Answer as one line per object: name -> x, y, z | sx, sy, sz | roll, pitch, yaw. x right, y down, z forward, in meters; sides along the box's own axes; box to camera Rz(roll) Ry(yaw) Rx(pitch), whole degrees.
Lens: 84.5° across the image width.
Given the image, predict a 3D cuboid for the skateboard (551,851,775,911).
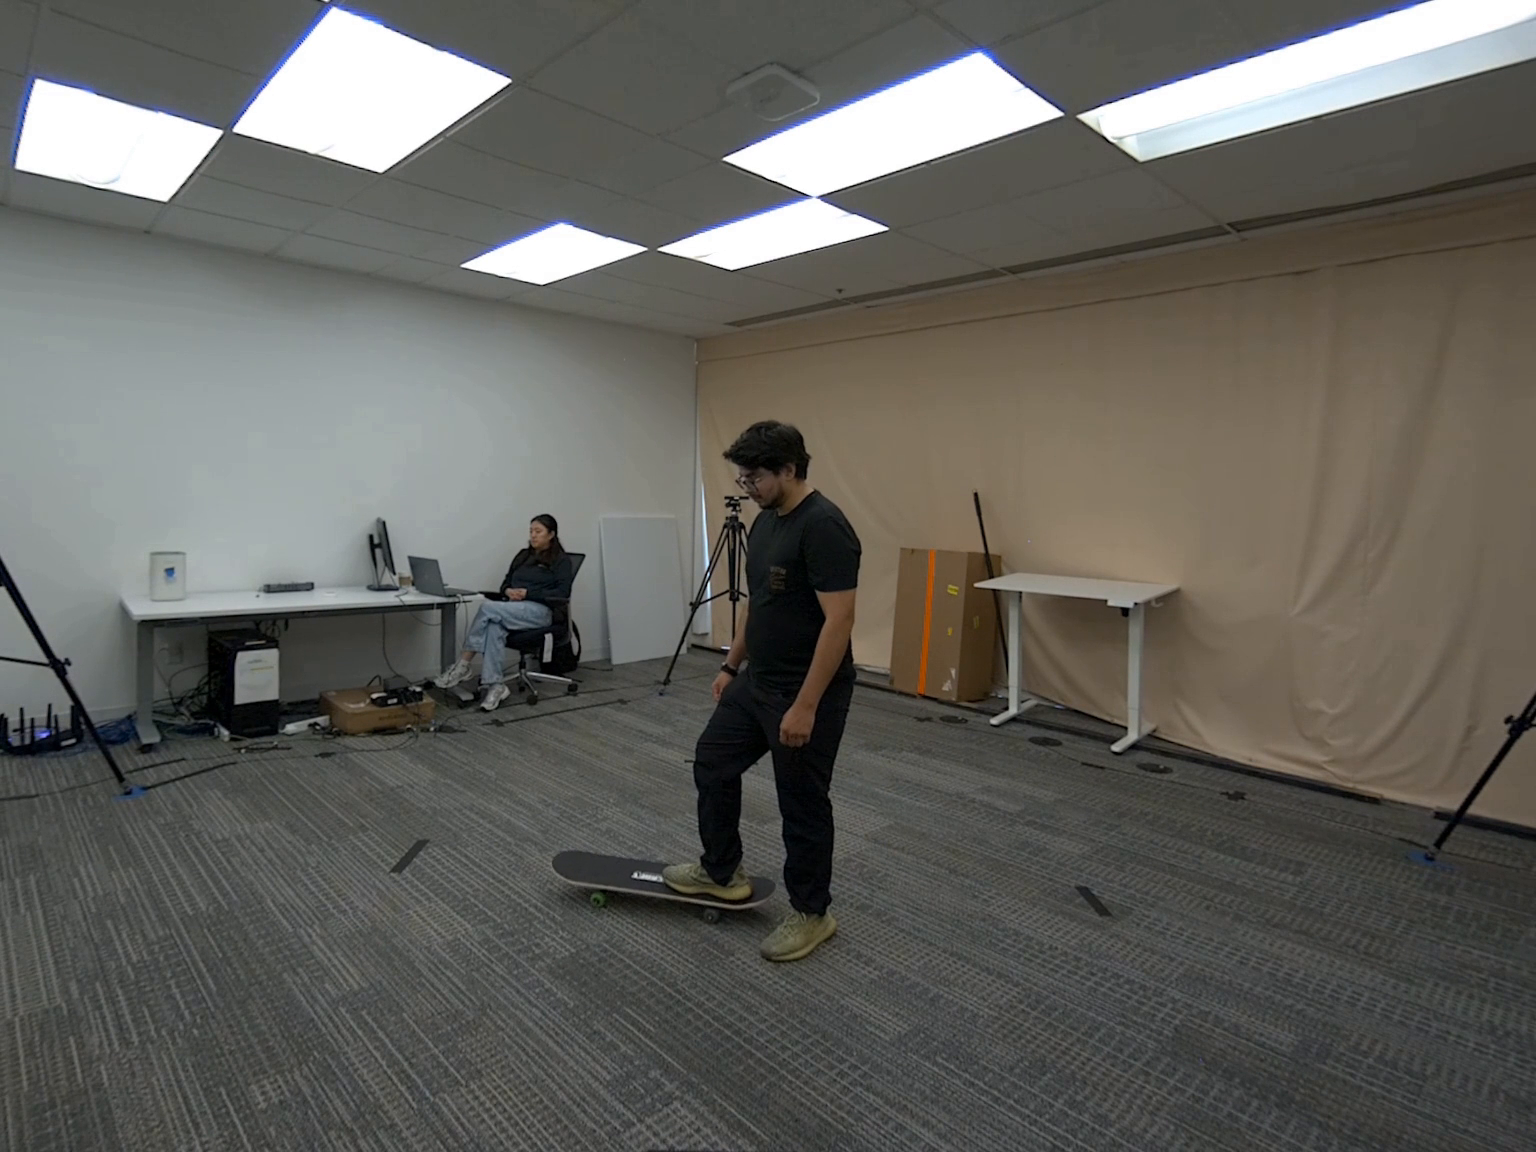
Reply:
skateboard -> -0.375, 1.063, 2.860 | 0.793, 0.110, 0.192 | 4, 9, 12
